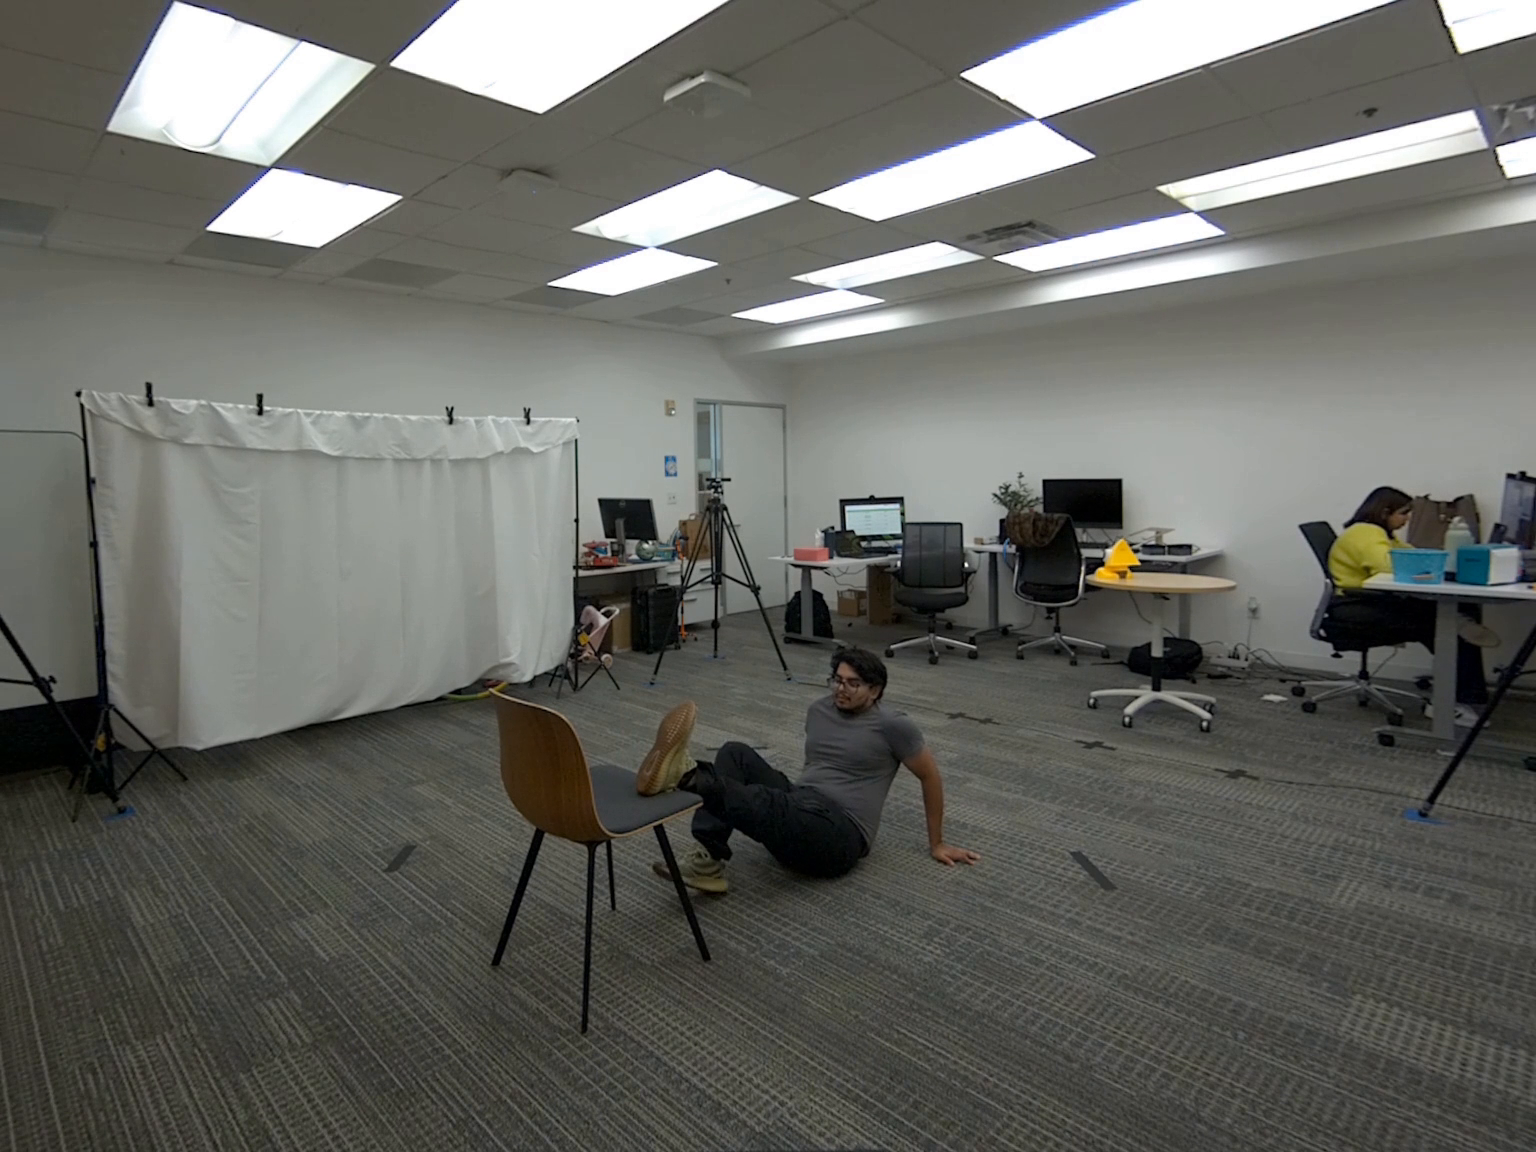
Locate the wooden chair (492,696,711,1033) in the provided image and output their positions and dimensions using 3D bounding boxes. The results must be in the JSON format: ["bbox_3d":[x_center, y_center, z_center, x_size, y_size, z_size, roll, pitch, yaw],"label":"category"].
[{"bbox_3d":[-0.482,0.702,2.452,0.493,0.871,0.511,3,10,43],"label":"wooden chair"}]
